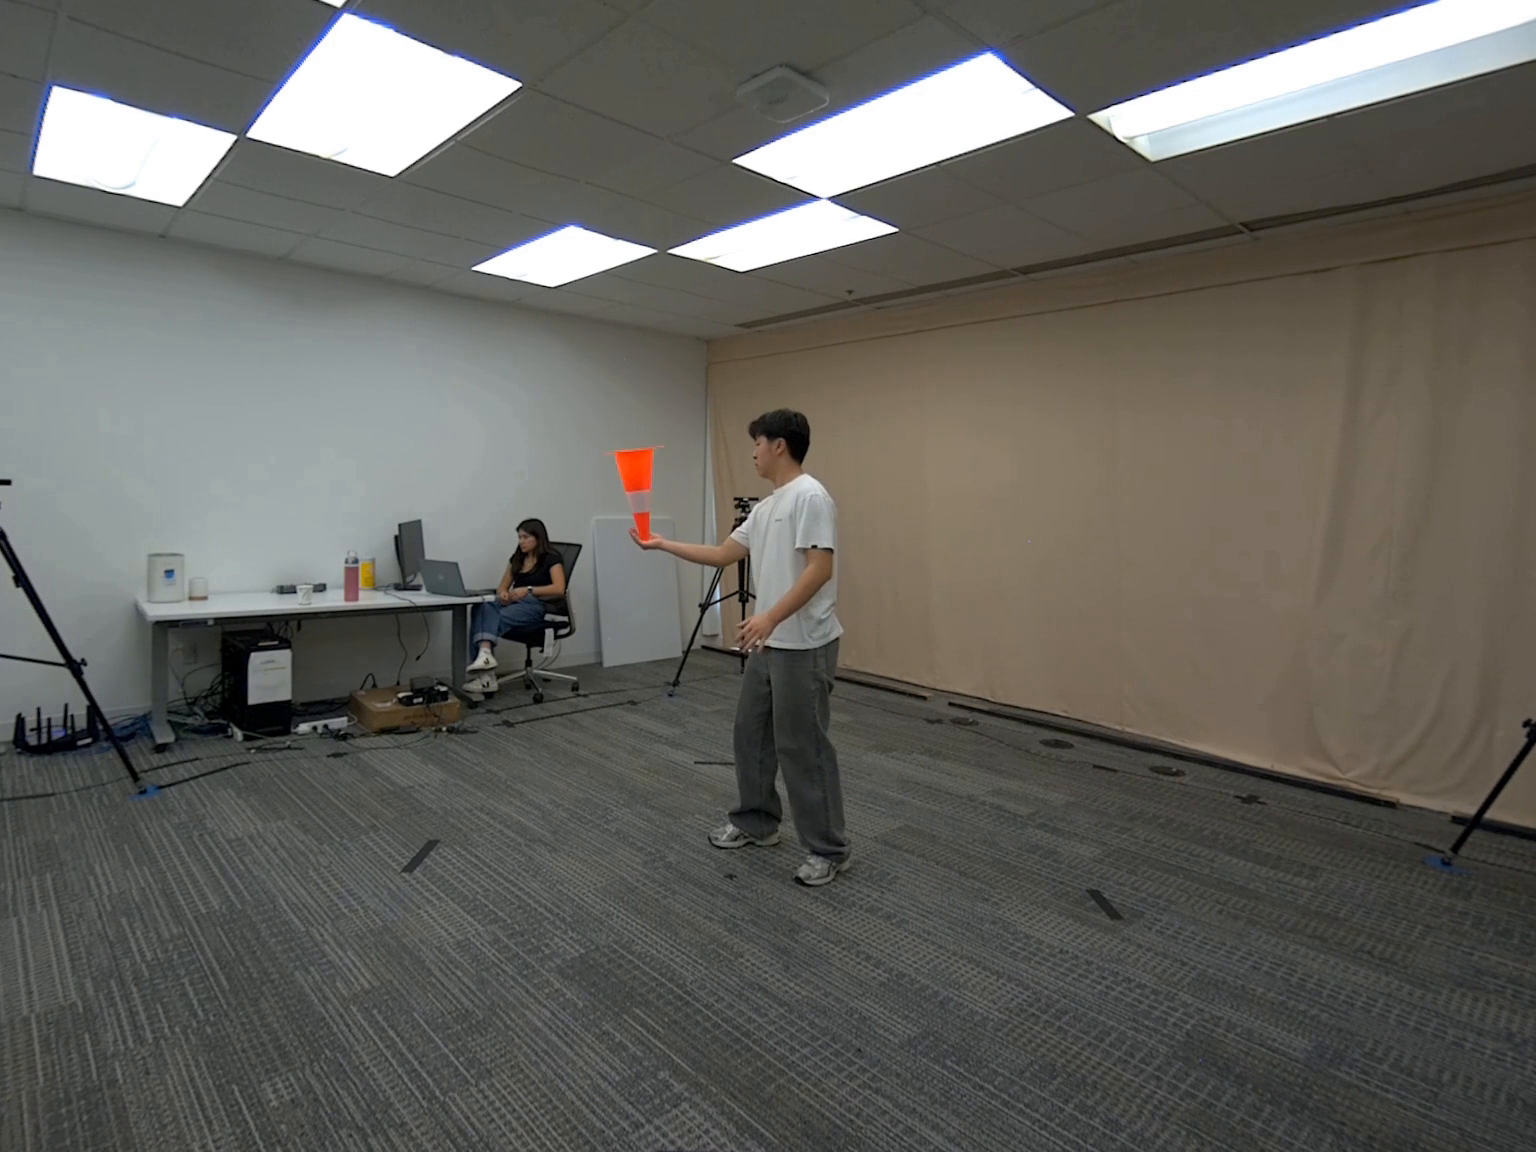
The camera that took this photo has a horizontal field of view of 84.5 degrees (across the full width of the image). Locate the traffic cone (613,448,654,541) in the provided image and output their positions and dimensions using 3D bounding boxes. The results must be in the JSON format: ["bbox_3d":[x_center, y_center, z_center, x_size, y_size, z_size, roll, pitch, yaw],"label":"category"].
[{"bbox_3d":[-0.542,-0.331,3.436,0.208,0.382,0.201,-1,6,22],"label":"traffic cone"}]
